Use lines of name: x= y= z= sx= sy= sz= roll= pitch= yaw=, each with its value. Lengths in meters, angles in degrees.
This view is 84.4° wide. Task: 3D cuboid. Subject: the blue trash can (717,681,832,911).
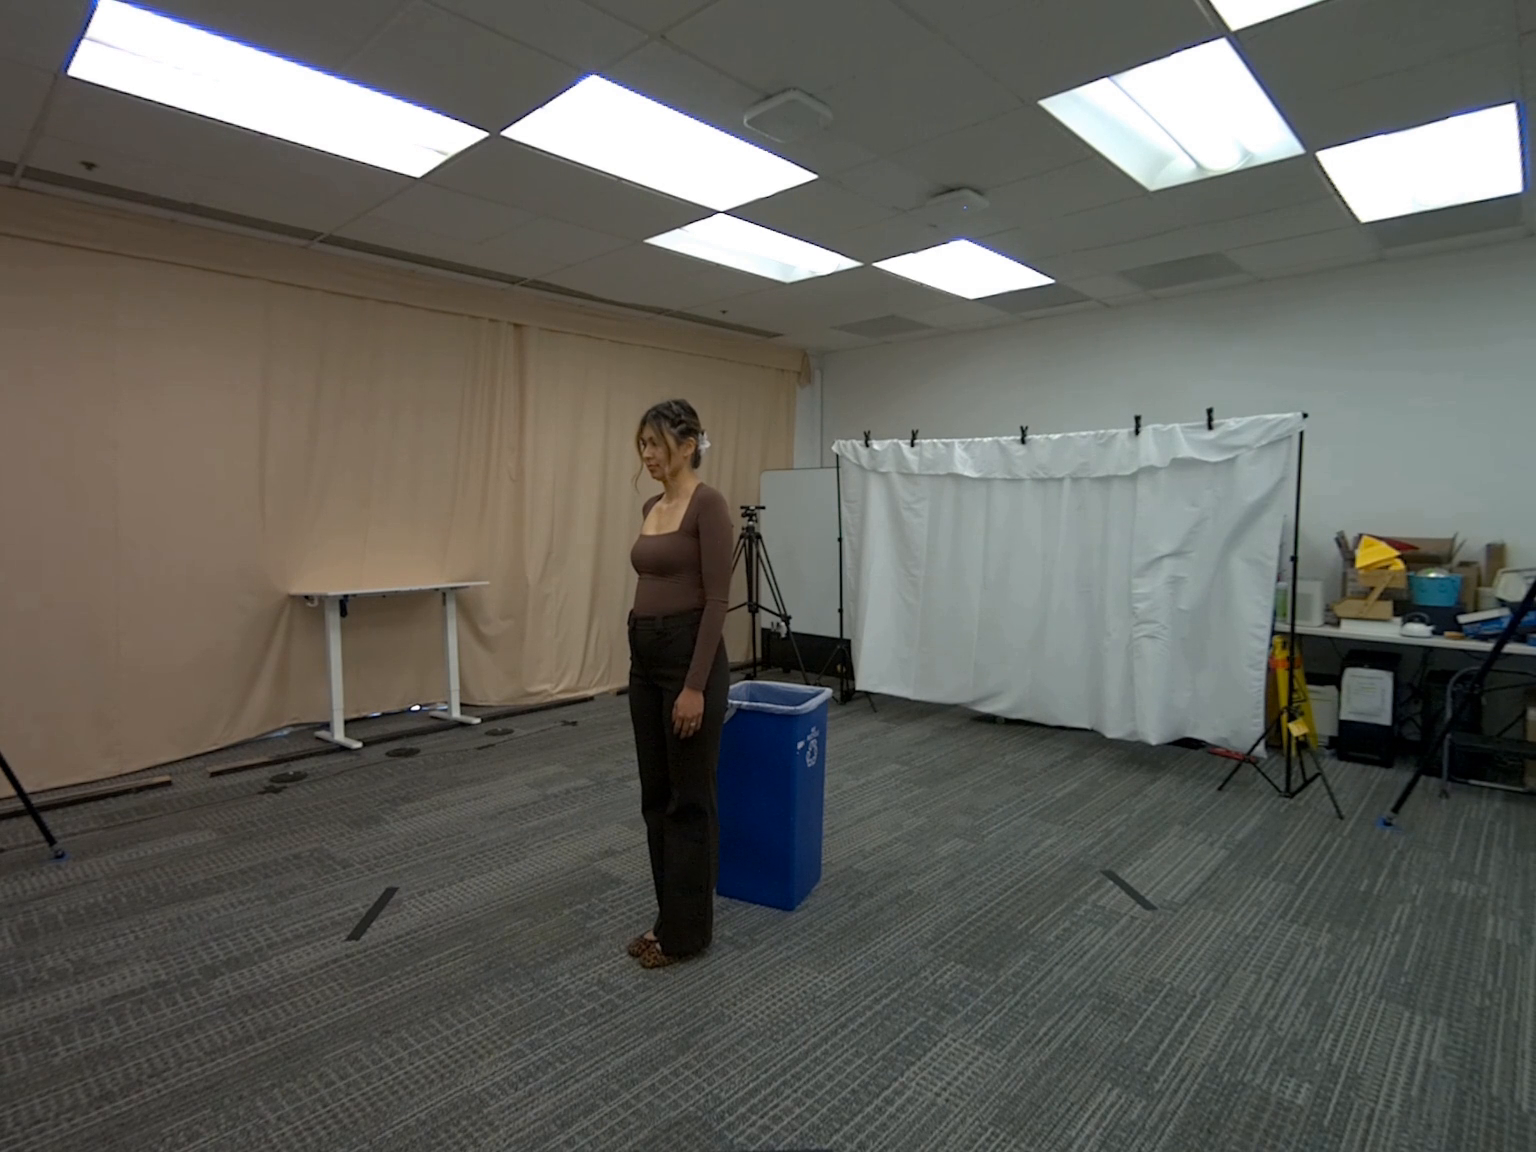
blue trash can: x=0.005 y=0.778 z=3.062 sx=0.384 sy=0.712 sz=0.369 roll=3 pitch=4 yaw=24
